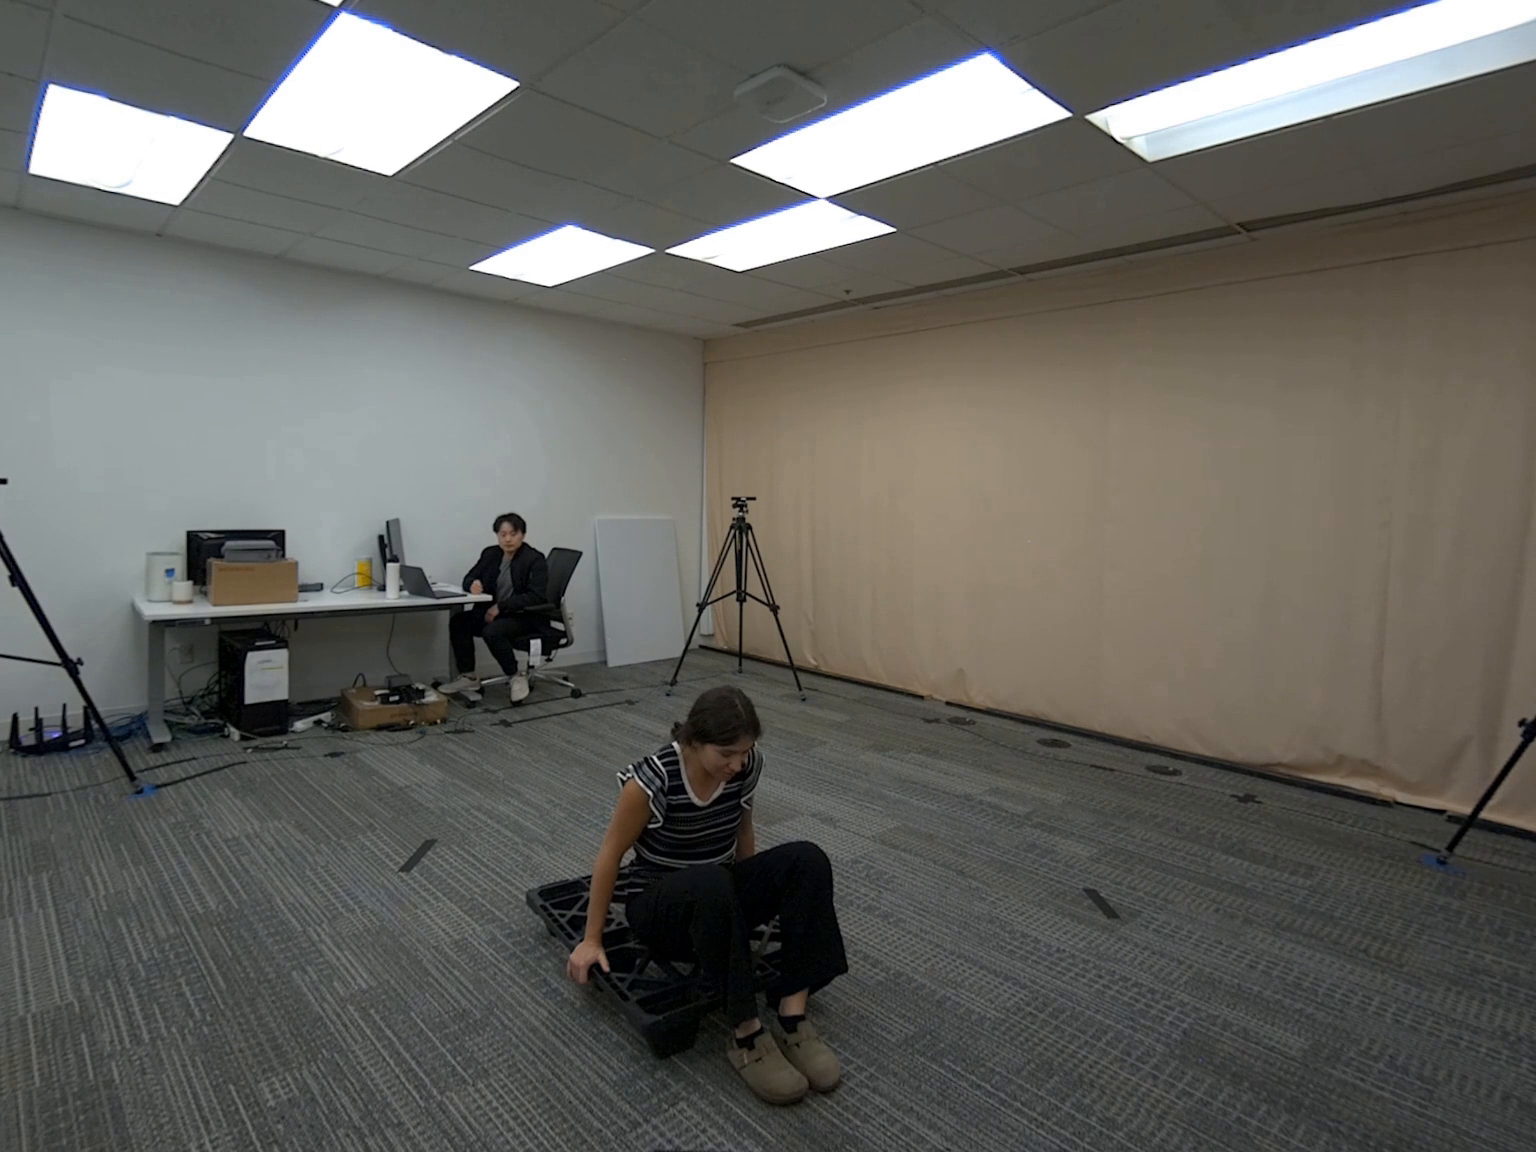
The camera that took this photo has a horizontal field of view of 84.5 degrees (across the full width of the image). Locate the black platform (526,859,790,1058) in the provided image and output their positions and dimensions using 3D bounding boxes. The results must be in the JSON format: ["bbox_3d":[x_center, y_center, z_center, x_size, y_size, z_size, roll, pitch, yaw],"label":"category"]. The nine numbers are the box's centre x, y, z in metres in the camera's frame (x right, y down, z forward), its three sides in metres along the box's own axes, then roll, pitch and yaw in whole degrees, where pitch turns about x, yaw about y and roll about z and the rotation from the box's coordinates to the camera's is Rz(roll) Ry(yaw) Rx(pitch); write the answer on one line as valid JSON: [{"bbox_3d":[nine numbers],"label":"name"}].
[{"bbox_3d":[-0.304,1.090,2.506,0.592,0.143,0.826,-4,7,-35],"label":"black platform"}]
